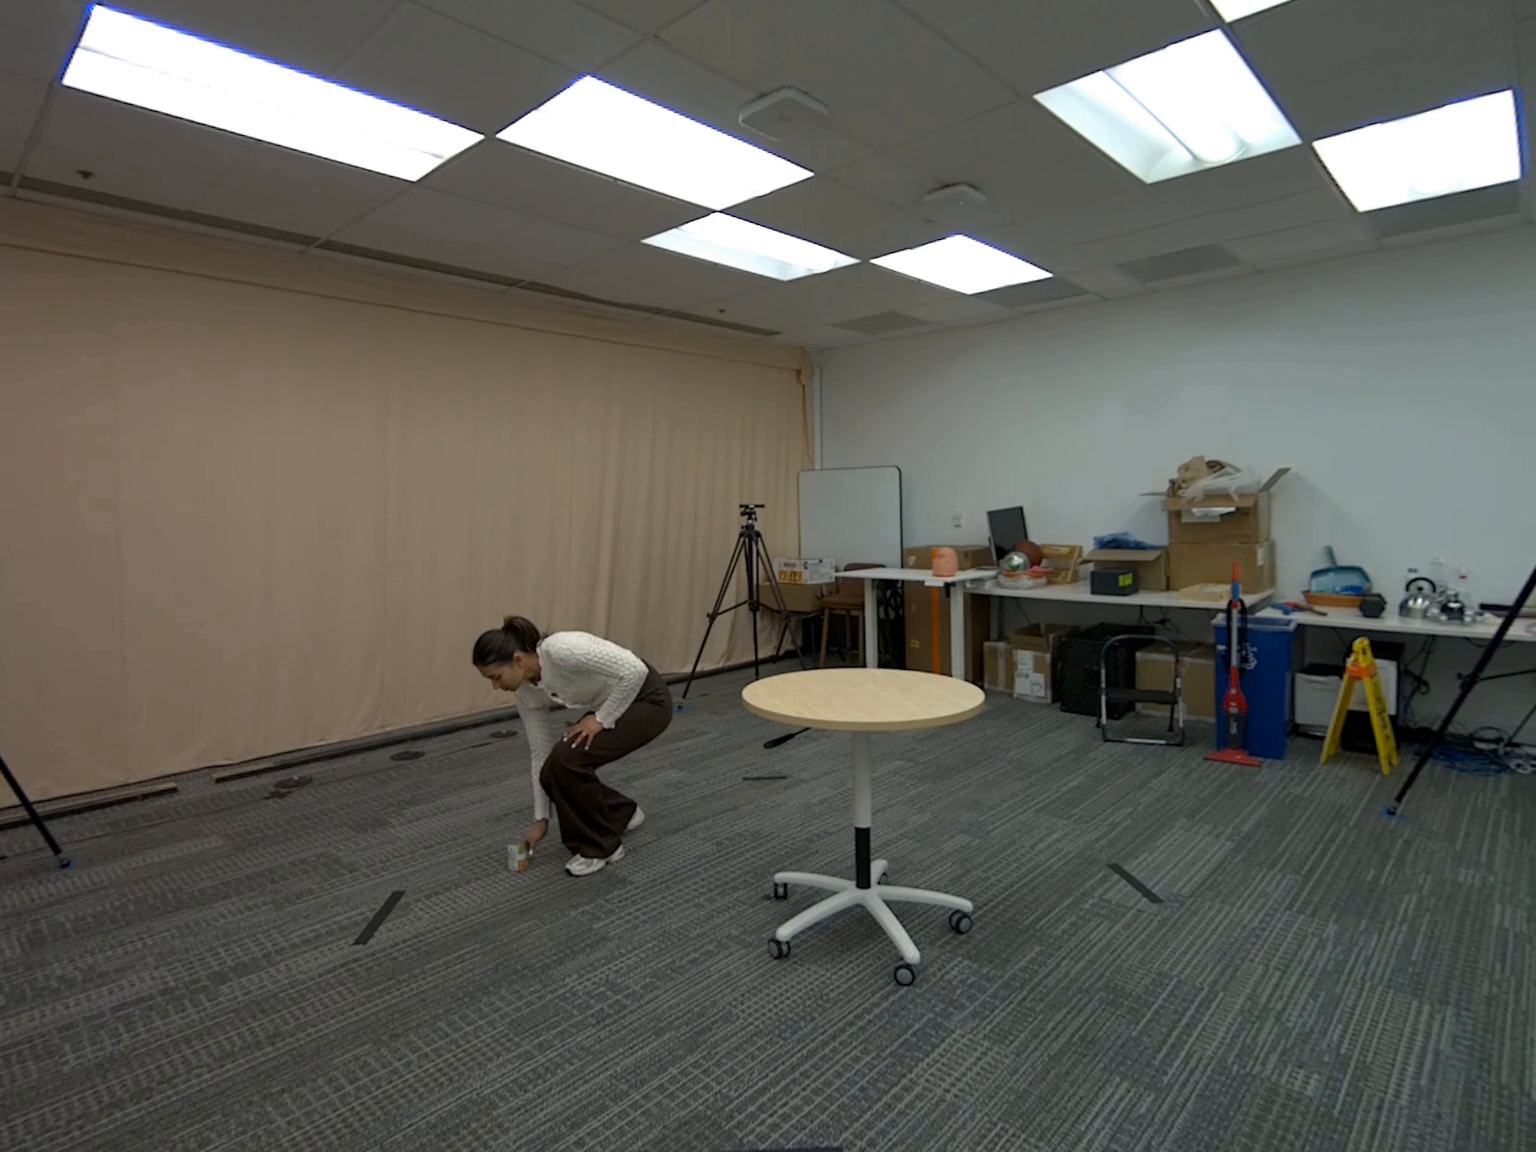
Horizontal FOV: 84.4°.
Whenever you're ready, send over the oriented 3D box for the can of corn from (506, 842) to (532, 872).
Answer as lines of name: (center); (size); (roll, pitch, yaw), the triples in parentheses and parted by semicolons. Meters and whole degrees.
can of corn: (-0.971, 1.083, 3.286); (0.074, 0.111, 0.074); (-3, -1, -2)
